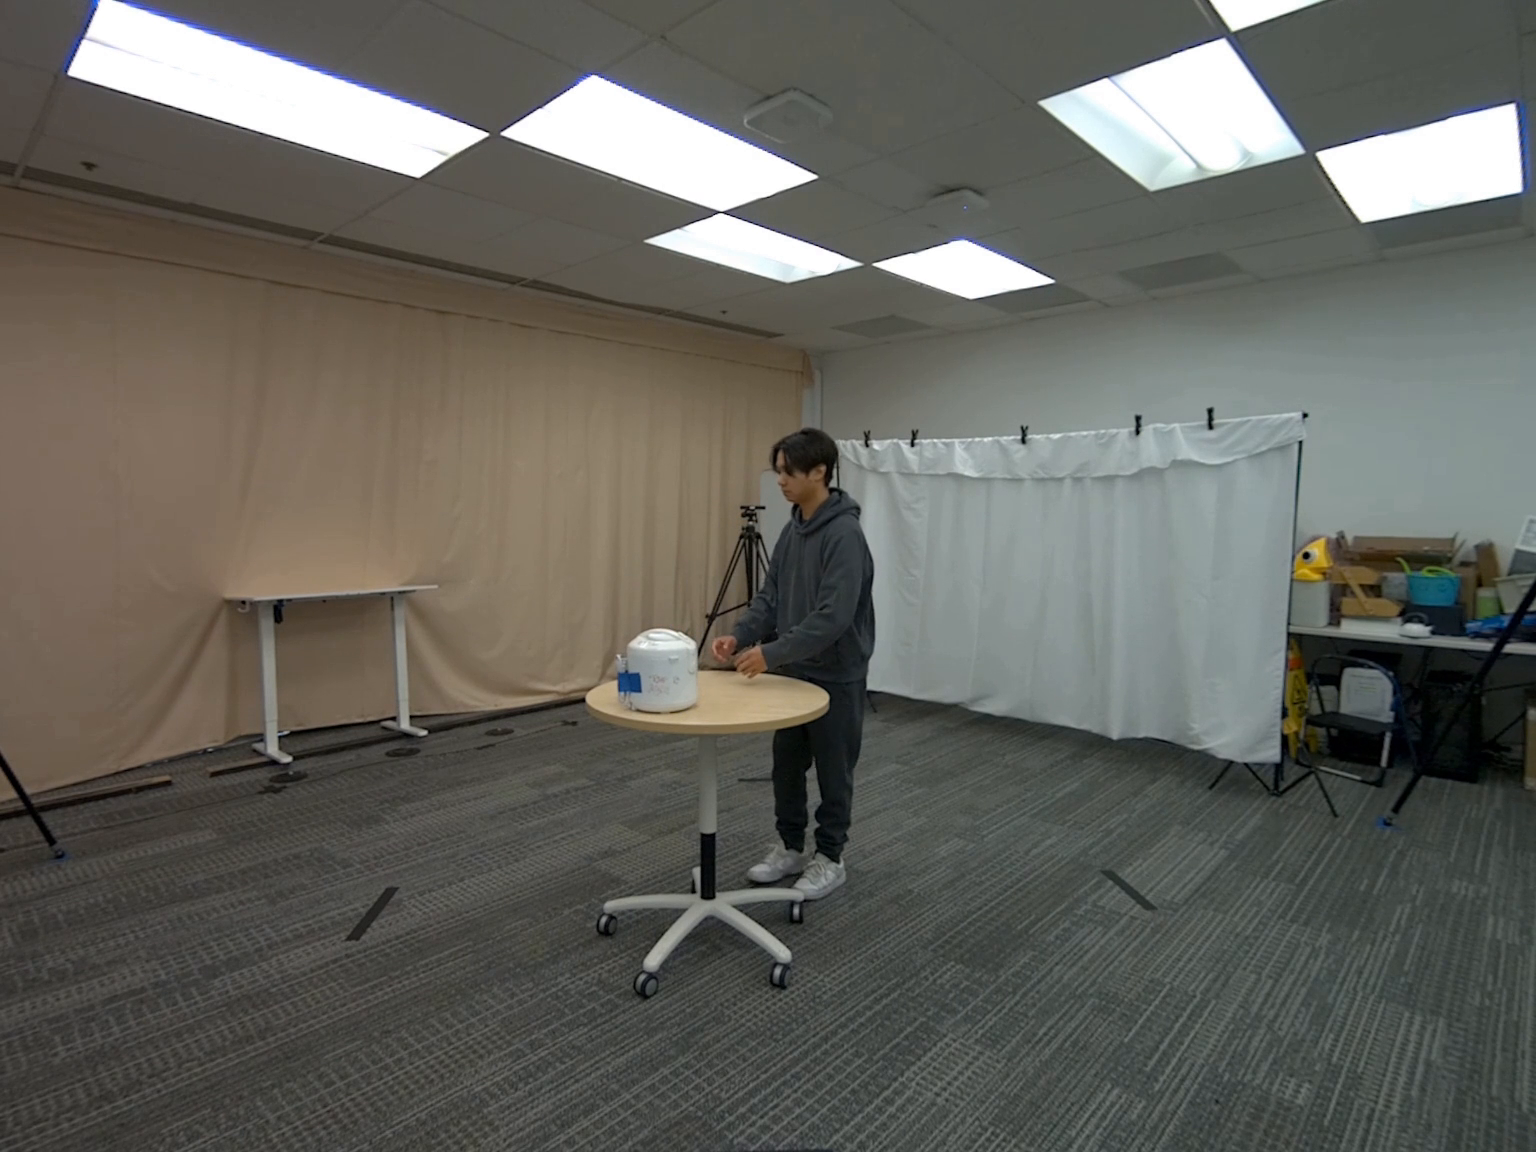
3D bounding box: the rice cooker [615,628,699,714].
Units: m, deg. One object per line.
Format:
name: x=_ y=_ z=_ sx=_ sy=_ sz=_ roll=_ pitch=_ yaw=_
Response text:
rice cooker: x=-0.311 y=0.273 z=2.486 sx=0.227 sy=0.232 sz=0.212 roll=2 pitch=5 yaw=28
